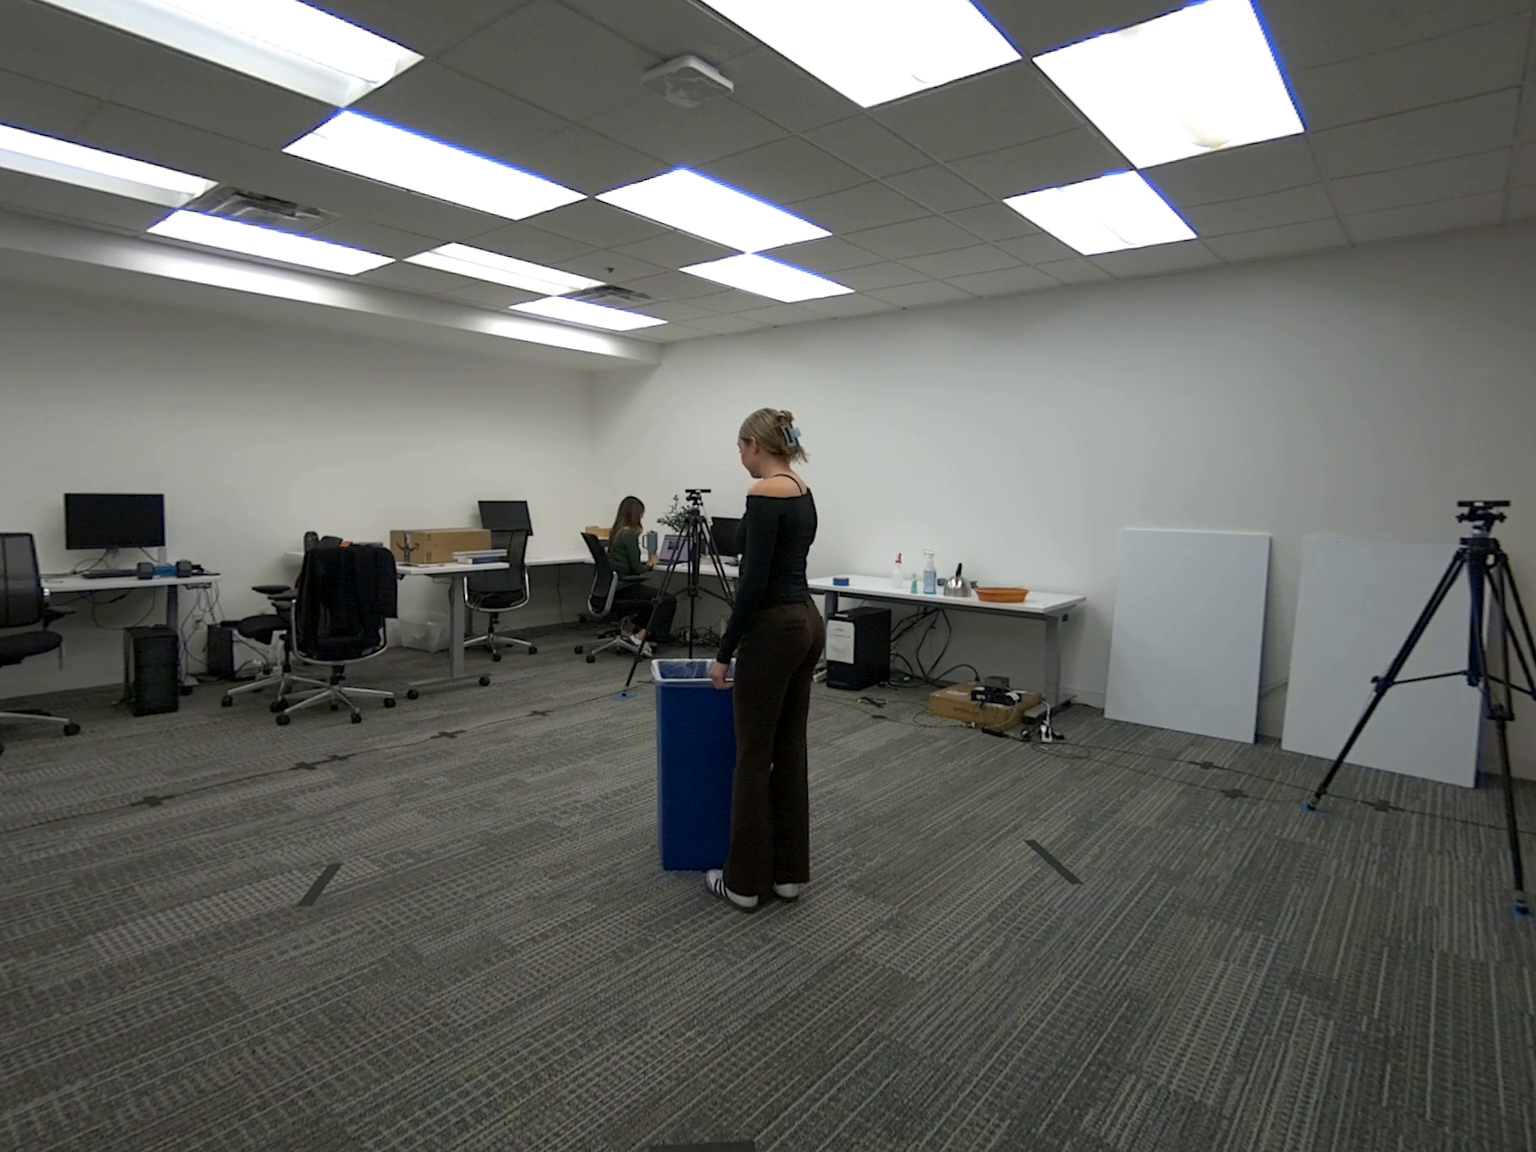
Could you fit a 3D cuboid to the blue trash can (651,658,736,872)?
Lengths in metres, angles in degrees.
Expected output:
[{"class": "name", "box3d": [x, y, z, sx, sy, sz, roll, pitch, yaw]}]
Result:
[{"class": "blue trash can", "box3d": [-0.265, 0.702, 3.240, 0.375, 0.712, 0.378, 0, 3, -8]}]
